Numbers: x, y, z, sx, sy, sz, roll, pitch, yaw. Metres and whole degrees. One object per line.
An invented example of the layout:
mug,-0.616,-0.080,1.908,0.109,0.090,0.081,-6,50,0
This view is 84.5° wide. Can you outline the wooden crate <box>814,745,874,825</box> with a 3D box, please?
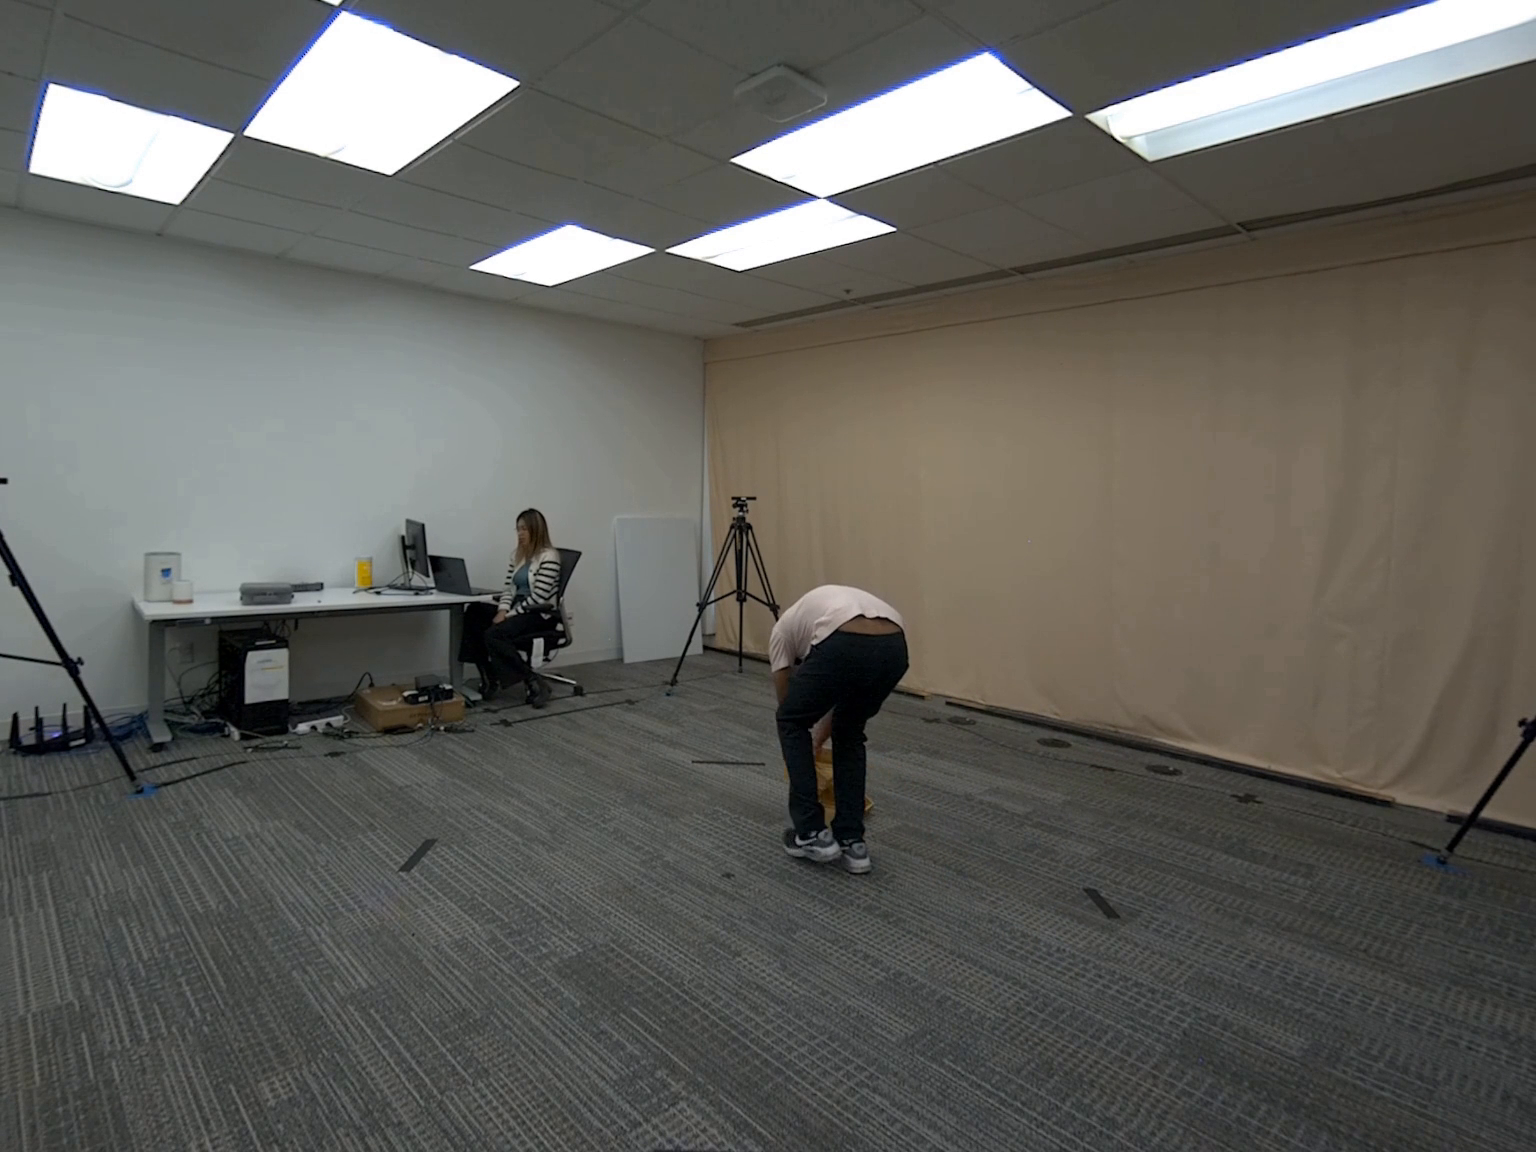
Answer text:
wooden crate,0.268,0.932,3.710,0.308,0.273,0.318,3,4,30
